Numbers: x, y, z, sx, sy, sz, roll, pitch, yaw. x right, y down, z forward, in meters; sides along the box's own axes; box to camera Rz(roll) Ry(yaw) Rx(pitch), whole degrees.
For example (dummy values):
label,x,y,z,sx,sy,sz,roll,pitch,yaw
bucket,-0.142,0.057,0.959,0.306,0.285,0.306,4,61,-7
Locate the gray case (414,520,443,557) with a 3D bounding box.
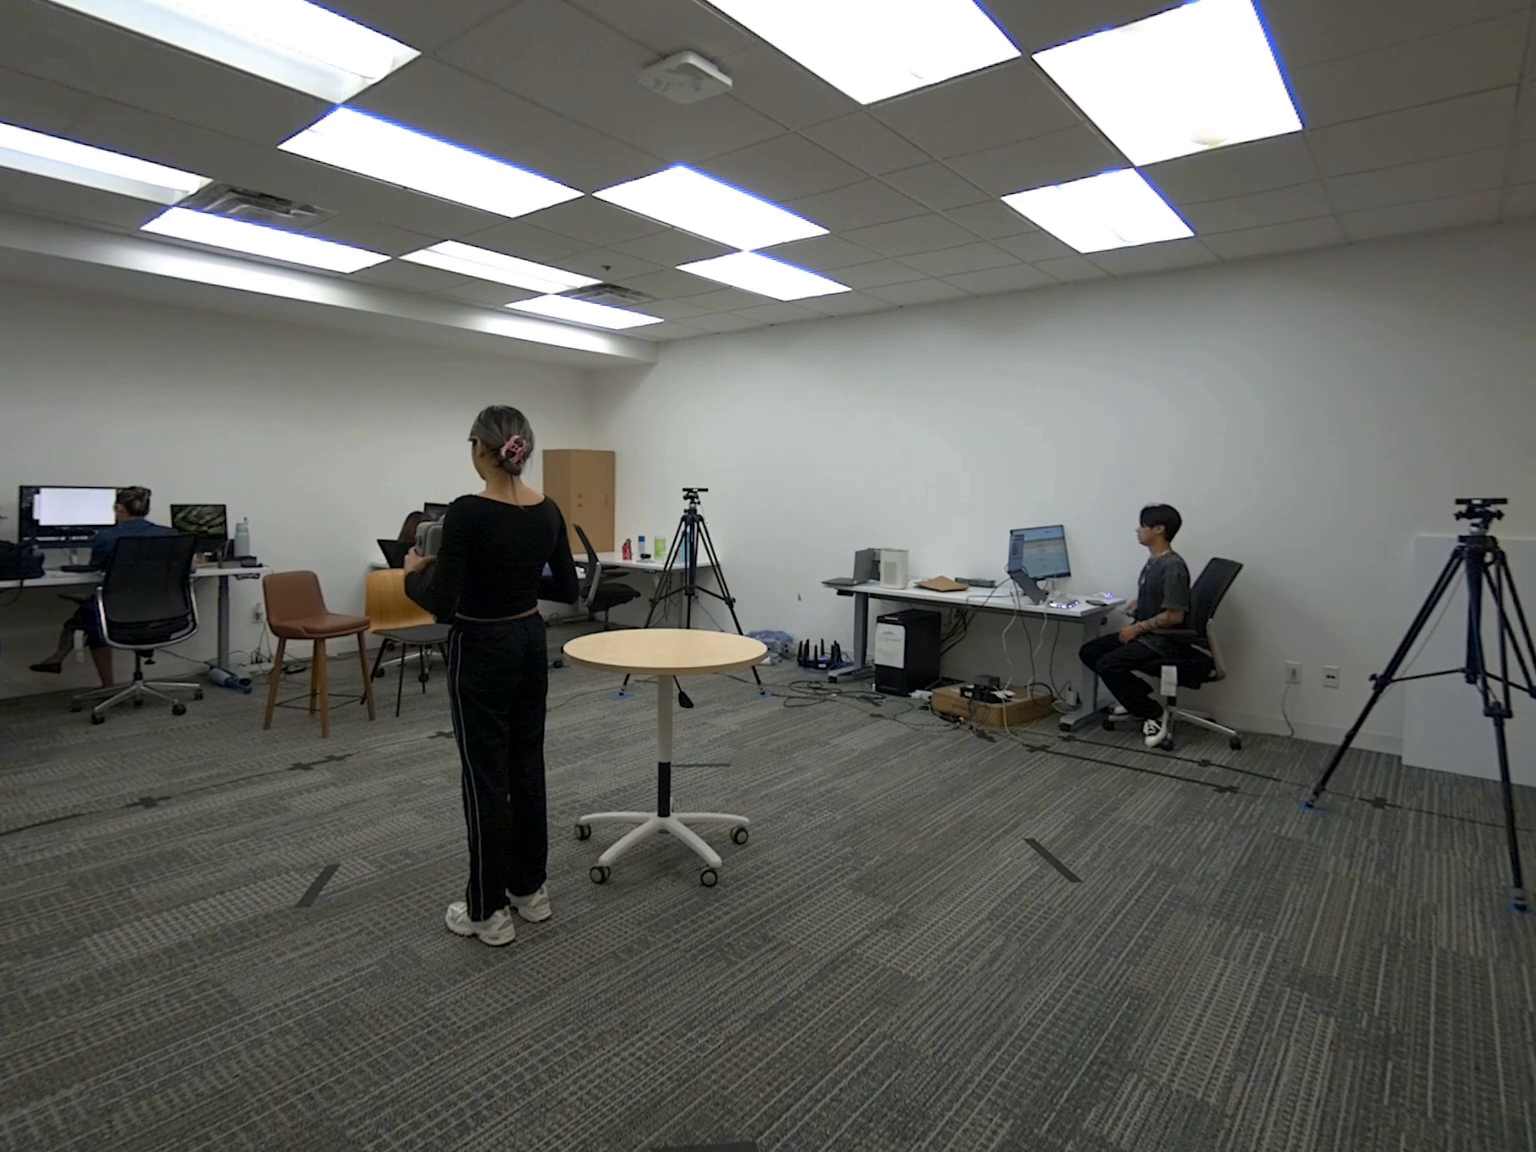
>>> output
label,x,y,z,sx,sy,sz,roll,pitch,yaw
gray case,-1.027,-0.051,2.772,0.108,0.259,0.249,10,8,39
